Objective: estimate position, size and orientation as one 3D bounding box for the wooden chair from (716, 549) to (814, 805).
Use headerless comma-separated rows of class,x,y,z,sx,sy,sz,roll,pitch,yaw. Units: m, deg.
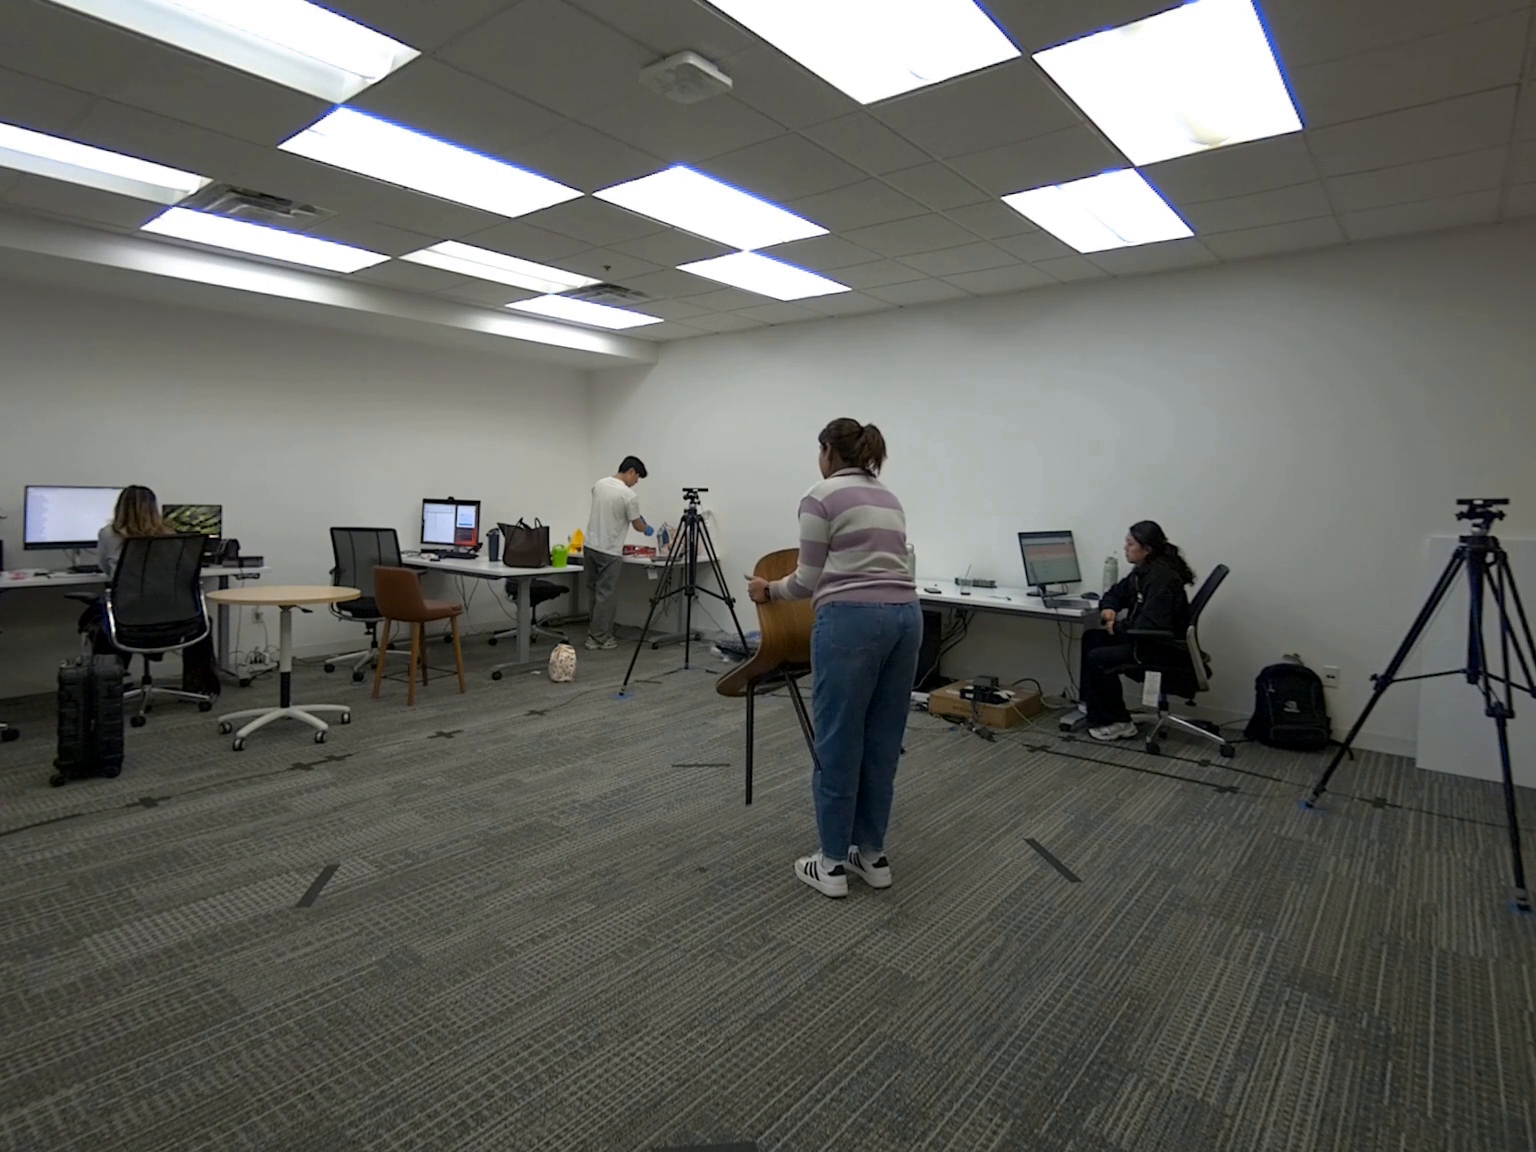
wooden chair,0.061,0.392,3.396,0.463,0.897,0.528,-1,-23,-39
